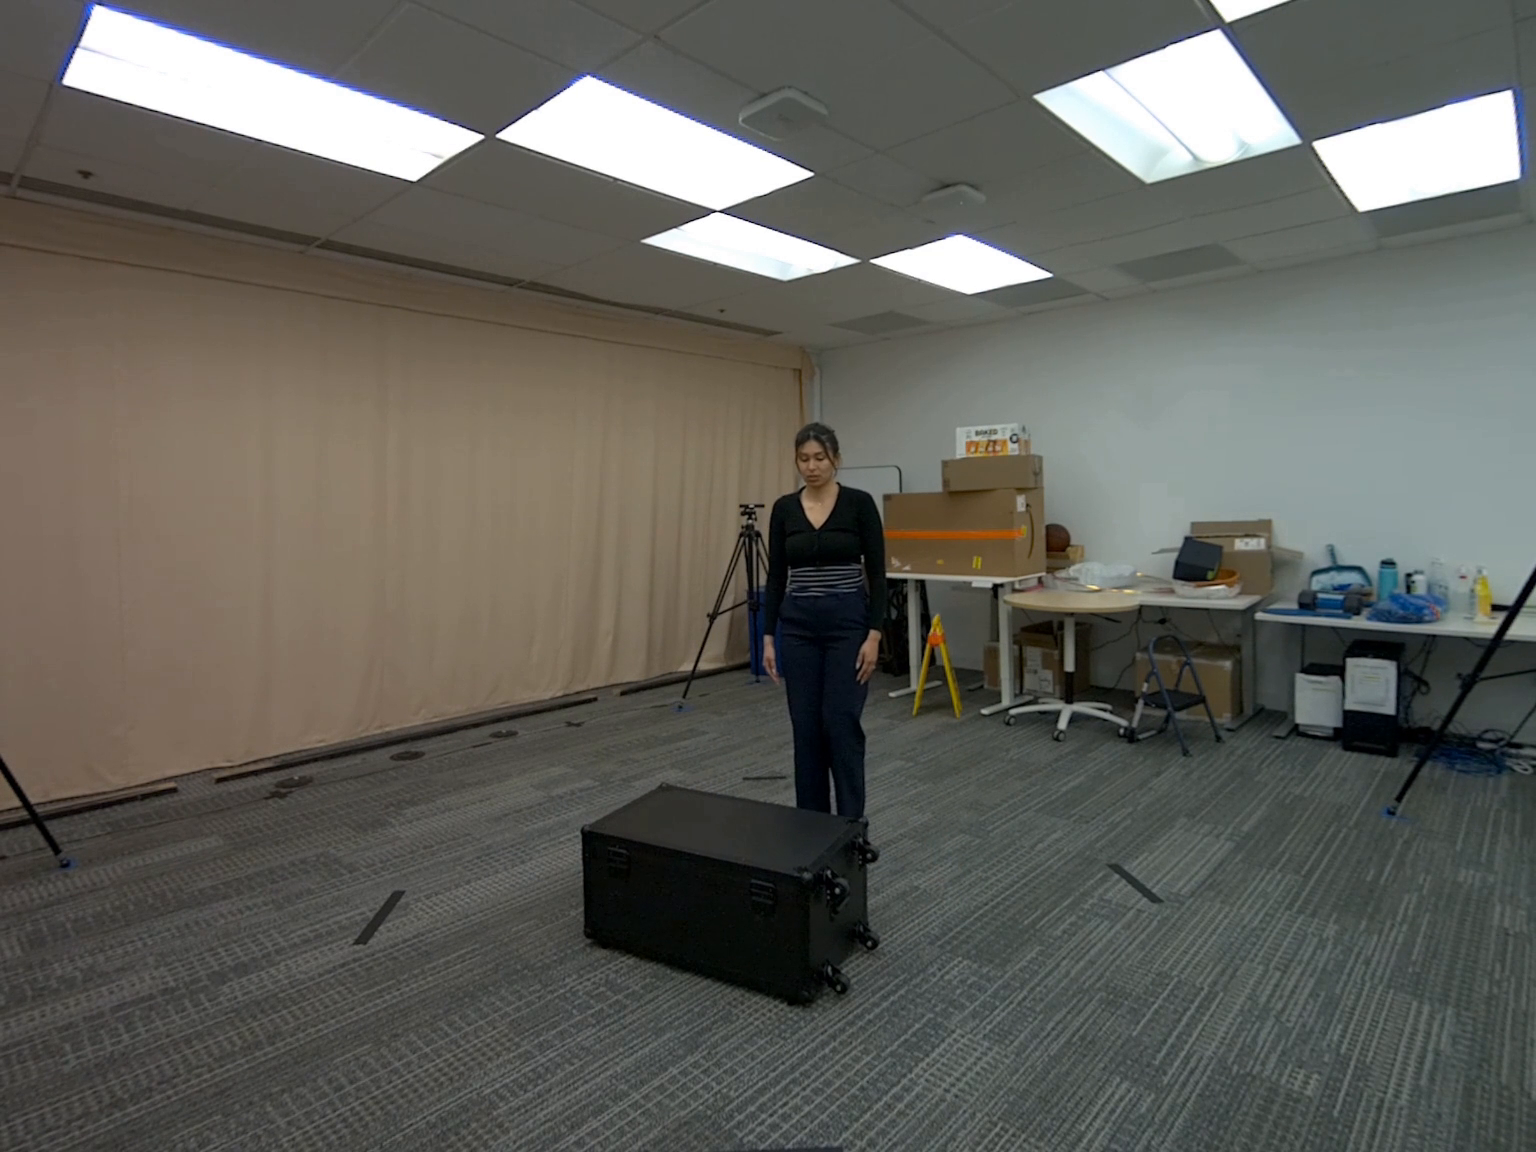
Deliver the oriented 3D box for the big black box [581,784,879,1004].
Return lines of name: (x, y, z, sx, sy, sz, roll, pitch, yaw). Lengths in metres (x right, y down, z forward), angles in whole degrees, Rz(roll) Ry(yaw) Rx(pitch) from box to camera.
big black box: (-0.106, 0.978, 2.673, 0.885, 0.395, 0.508, 1, 4, 28)
